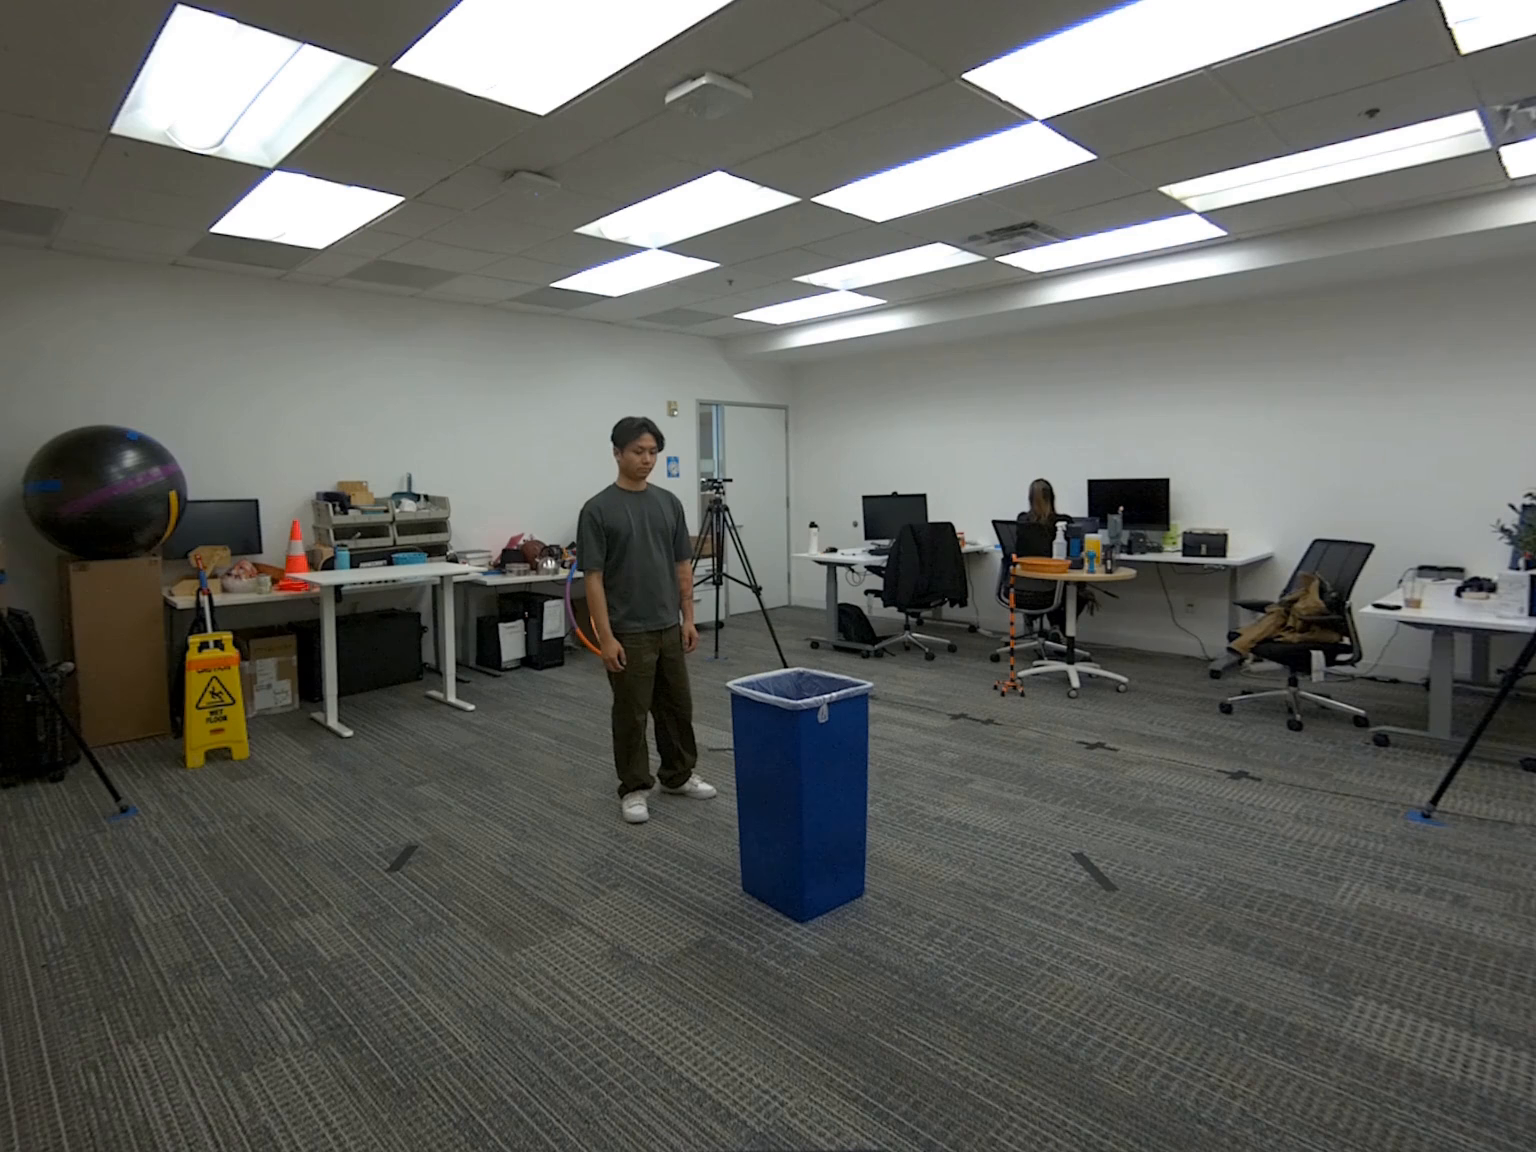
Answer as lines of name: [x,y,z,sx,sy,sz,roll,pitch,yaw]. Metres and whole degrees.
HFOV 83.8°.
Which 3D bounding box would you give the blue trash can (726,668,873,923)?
blue trash can: [0.117,0.712,2.871,0.364,0.711,0.389,-5,5,-41]
